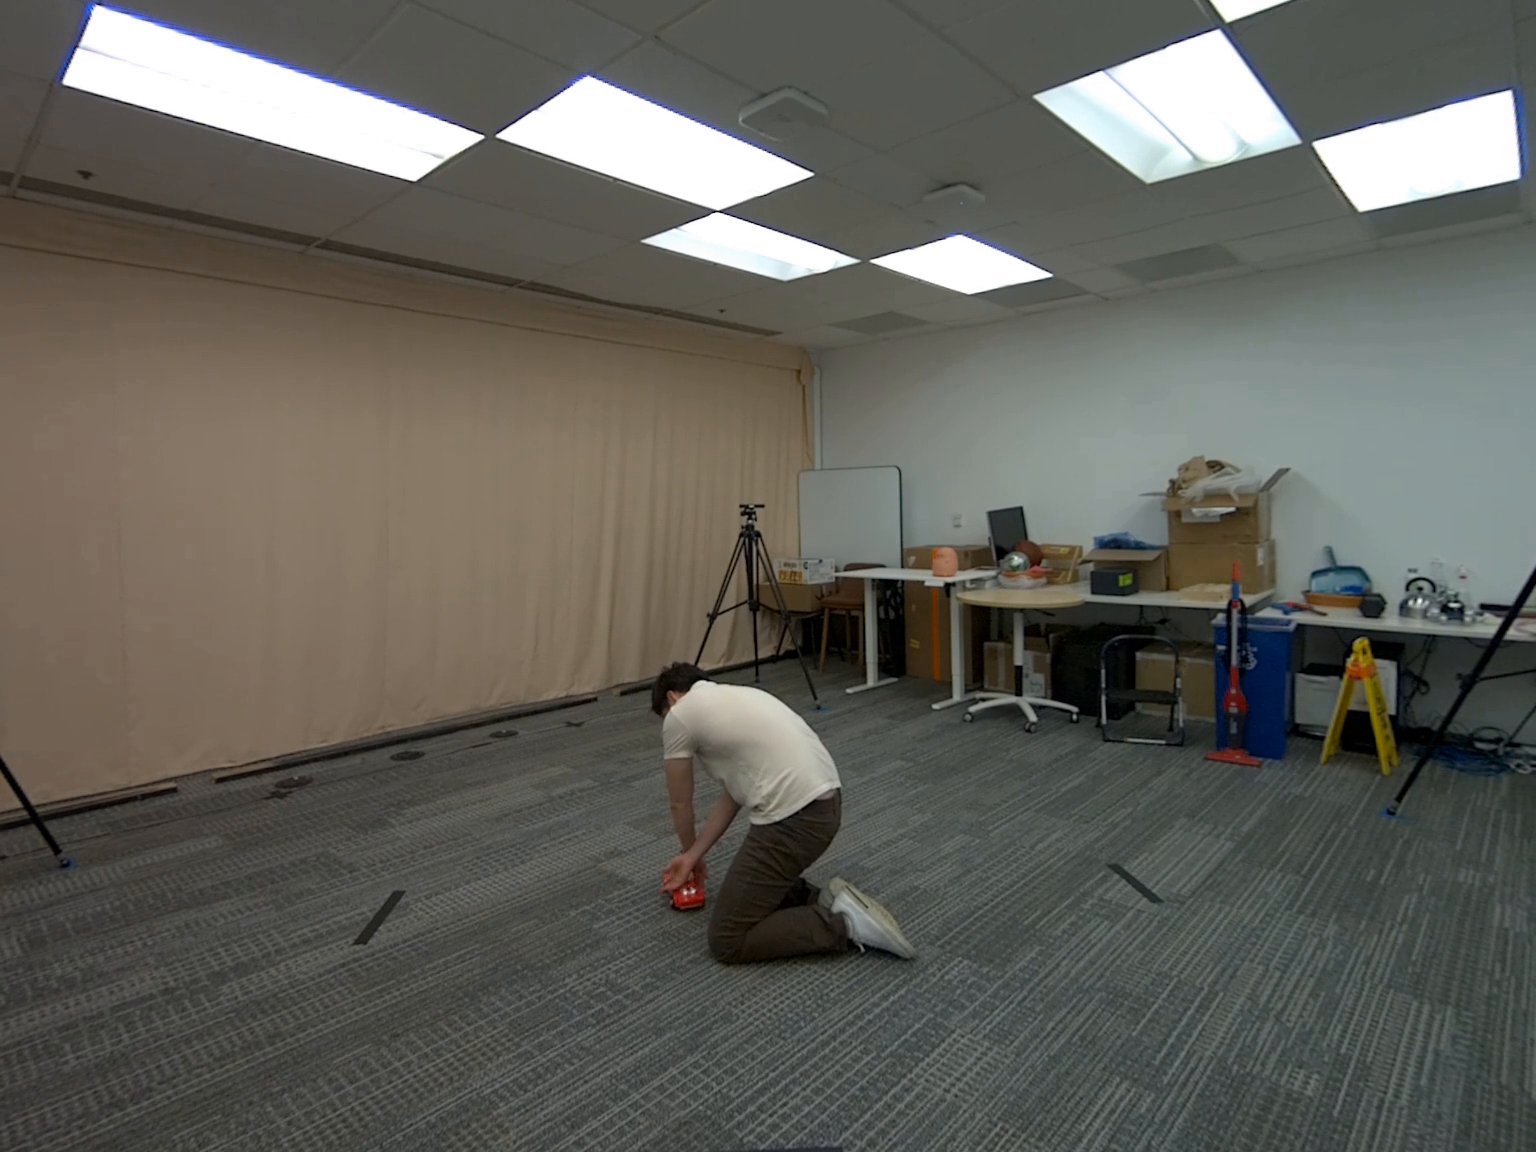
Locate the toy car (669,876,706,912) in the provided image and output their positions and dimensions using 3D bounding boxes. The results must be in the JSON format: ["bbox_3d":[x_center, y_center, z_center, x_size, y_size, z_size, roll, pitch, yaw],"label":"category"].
[{"bbox_3d":[-0.296,1.118,2.973,0.128,0.083,0.258,-1,-6,-19],"label":"toy car"}]
